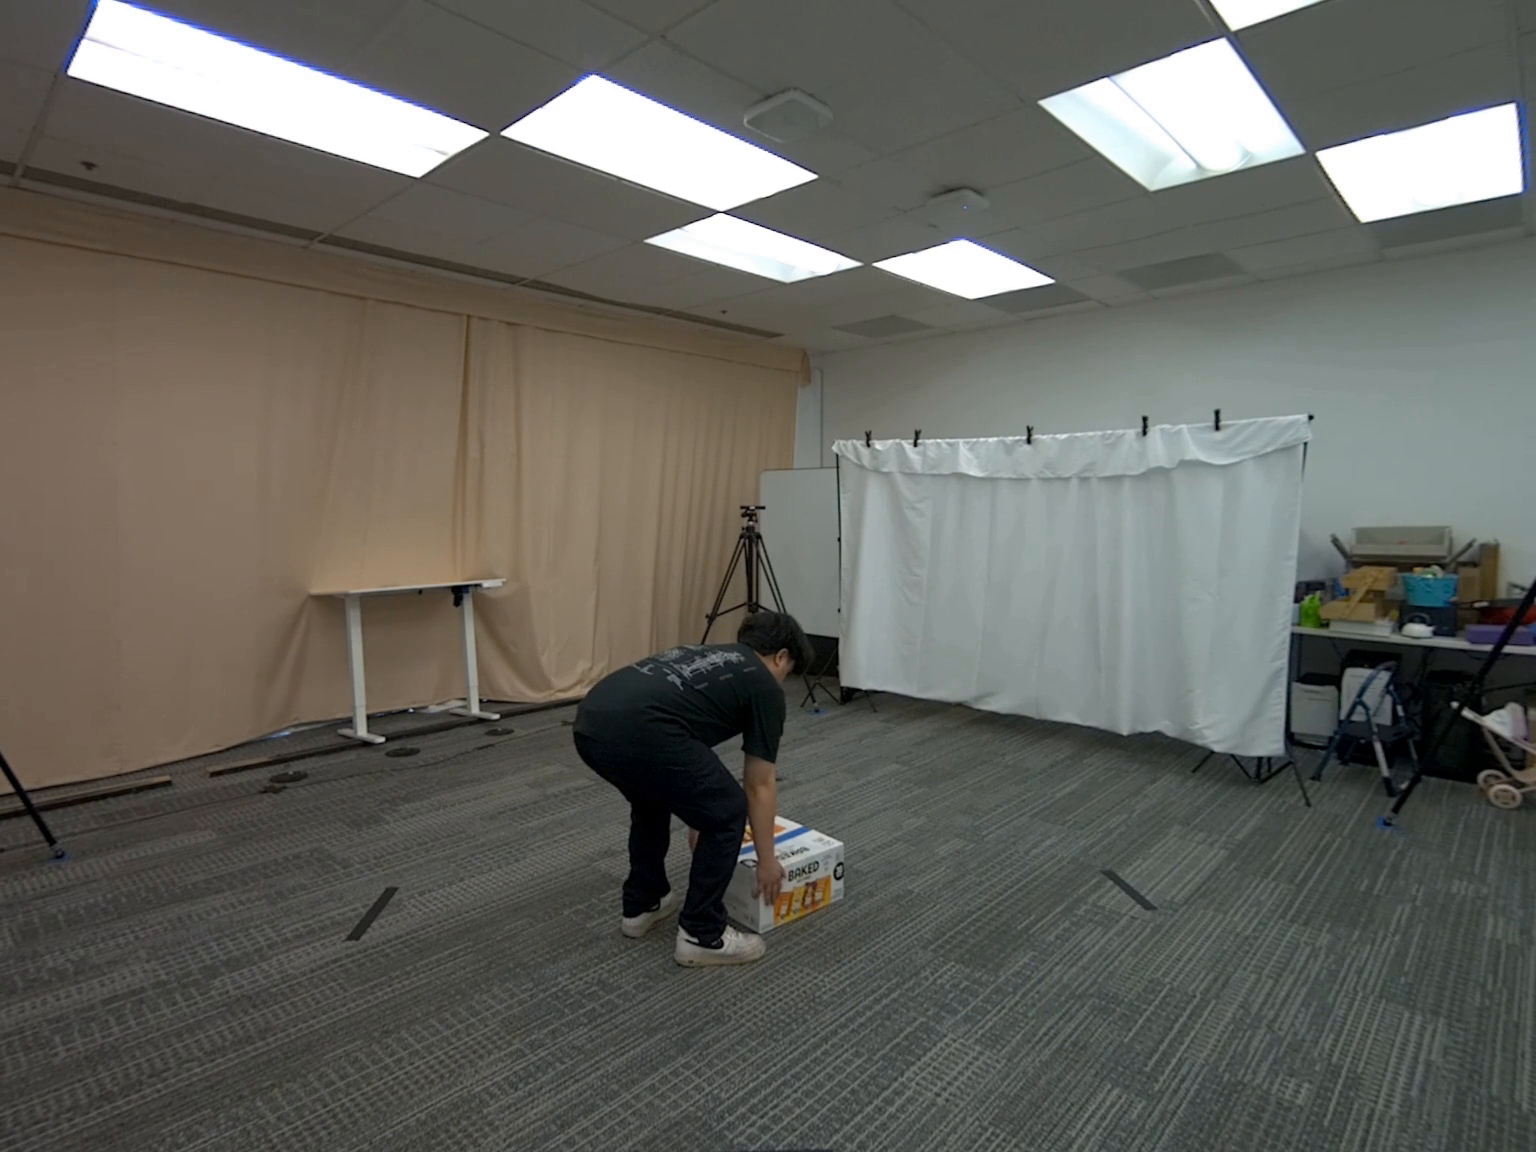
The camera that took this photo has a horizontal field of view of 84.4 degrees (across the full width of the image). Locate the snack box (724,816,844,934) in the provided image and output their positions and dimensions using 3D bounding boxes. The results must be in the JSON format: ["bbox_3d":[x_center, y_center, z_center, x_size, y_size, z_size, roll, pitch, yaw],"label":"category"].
[{"bbox_3d":[0.009,1.041,2.974,0.393,0.205,0.352,-4,5,-41],"label":"snack box"}]
